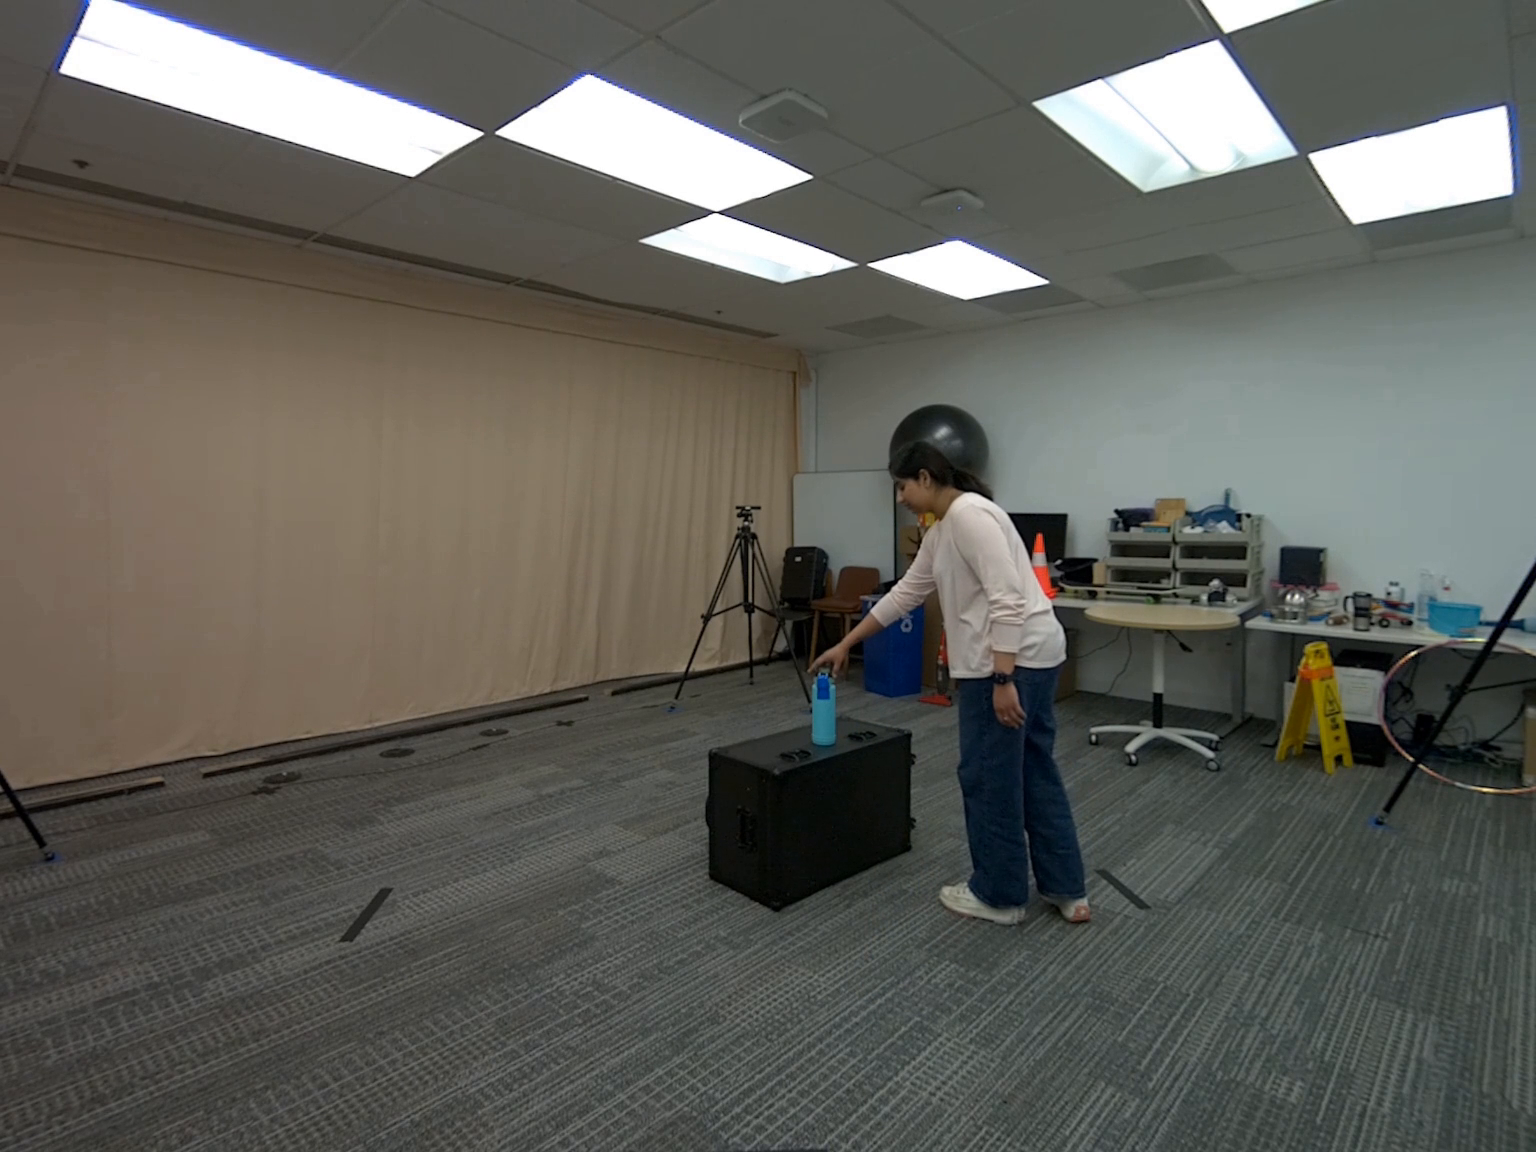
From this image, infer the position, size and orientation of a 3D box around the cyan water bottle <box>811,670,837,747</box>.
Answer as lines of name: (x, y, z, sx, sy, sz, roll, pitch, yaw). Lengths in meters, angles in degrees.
cyan water bottle: (0.225, 0.504, 3.240, 0.092, 0.283, 0.092, 2, 2, -2)
